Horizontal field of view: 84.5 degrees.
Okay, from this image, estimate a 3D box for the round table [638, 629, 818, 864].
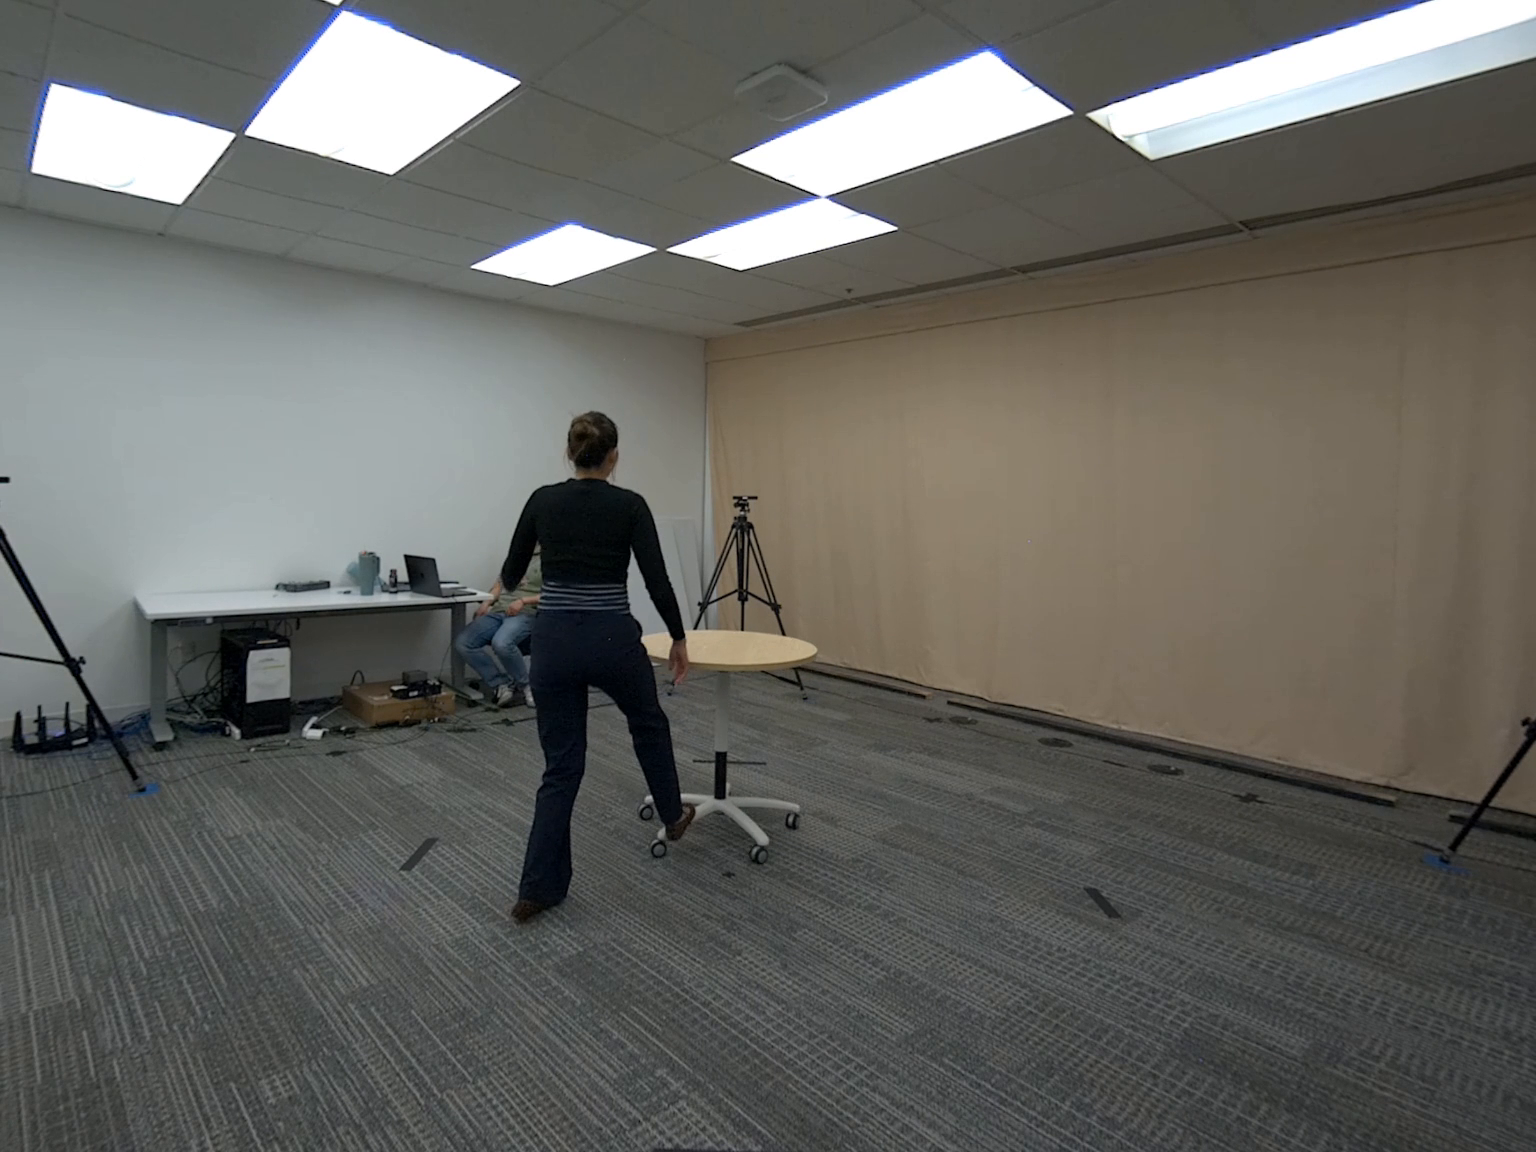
[{"bbox_3d":[-0.202,0.679,3.497,0.763,0.792,0.766,2,4,-2],"label":"round table"}]
